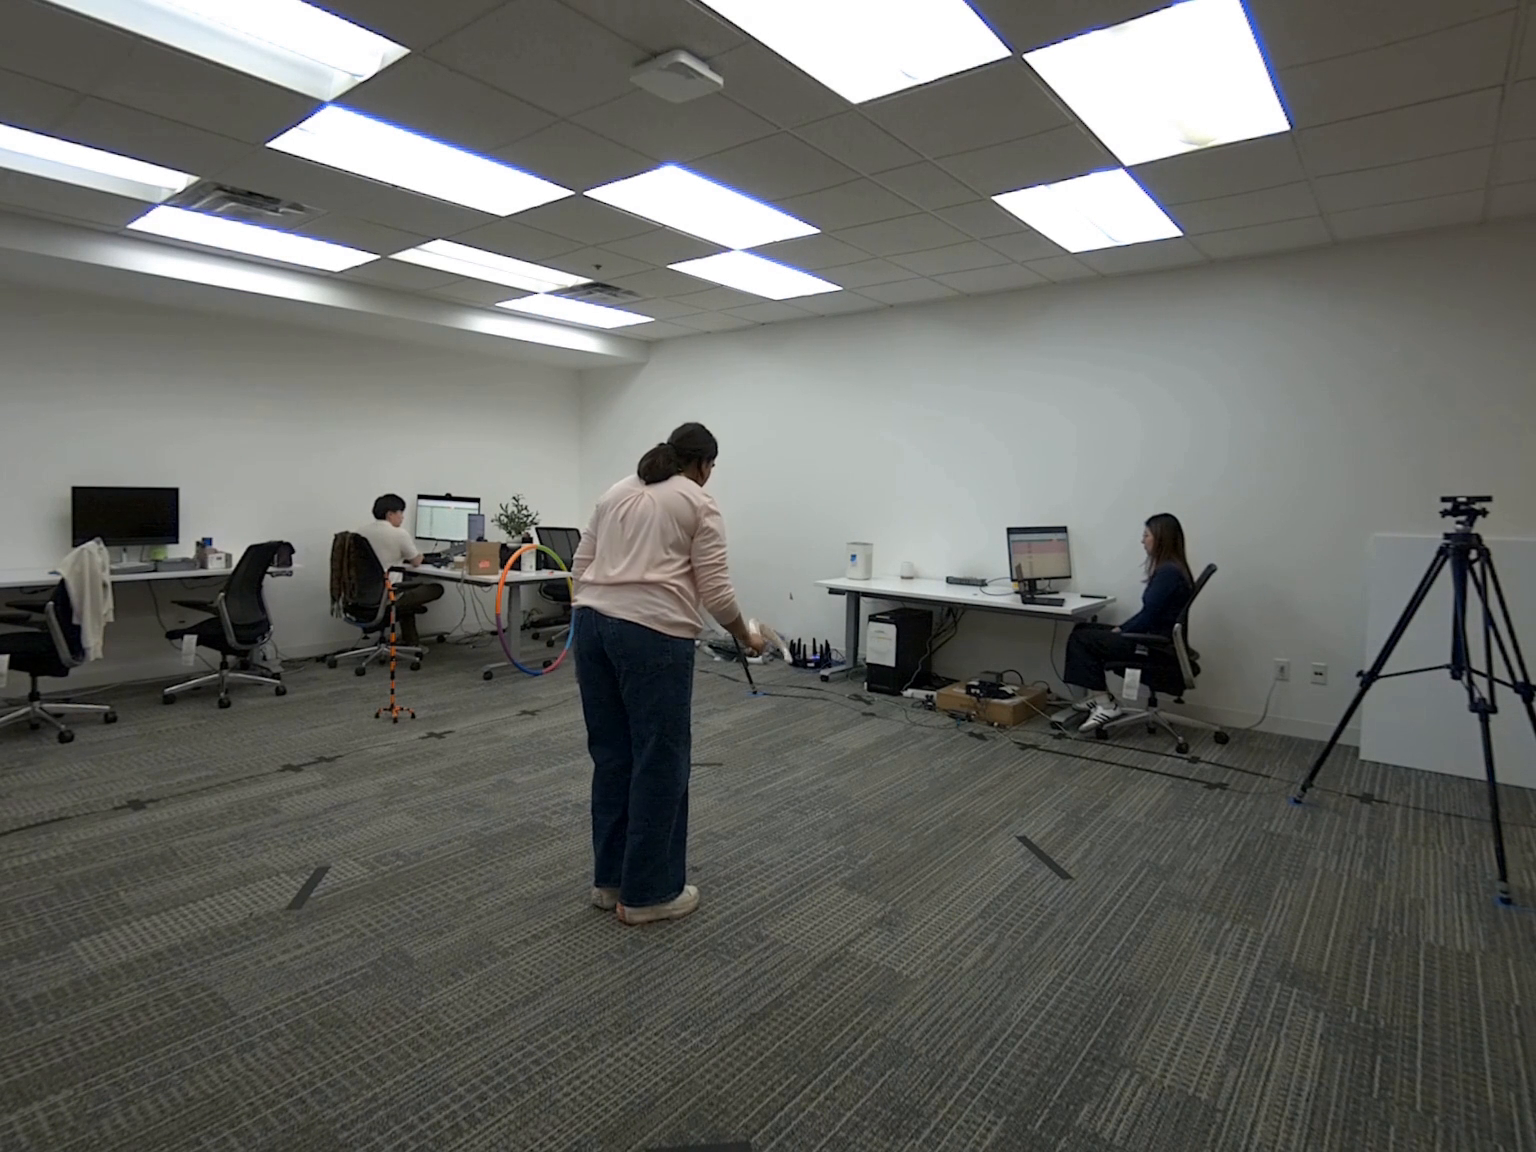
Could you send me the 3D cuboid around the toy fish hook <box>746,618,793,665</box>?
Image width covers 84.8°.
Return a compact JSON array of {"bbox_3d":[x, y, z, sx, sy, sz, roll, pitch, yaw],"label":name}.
[{"bbox_3d":[-0.007,0.264,3.141,0.225,0.048,0.506,37,9,-1],"label":"toy fish hook"}]
